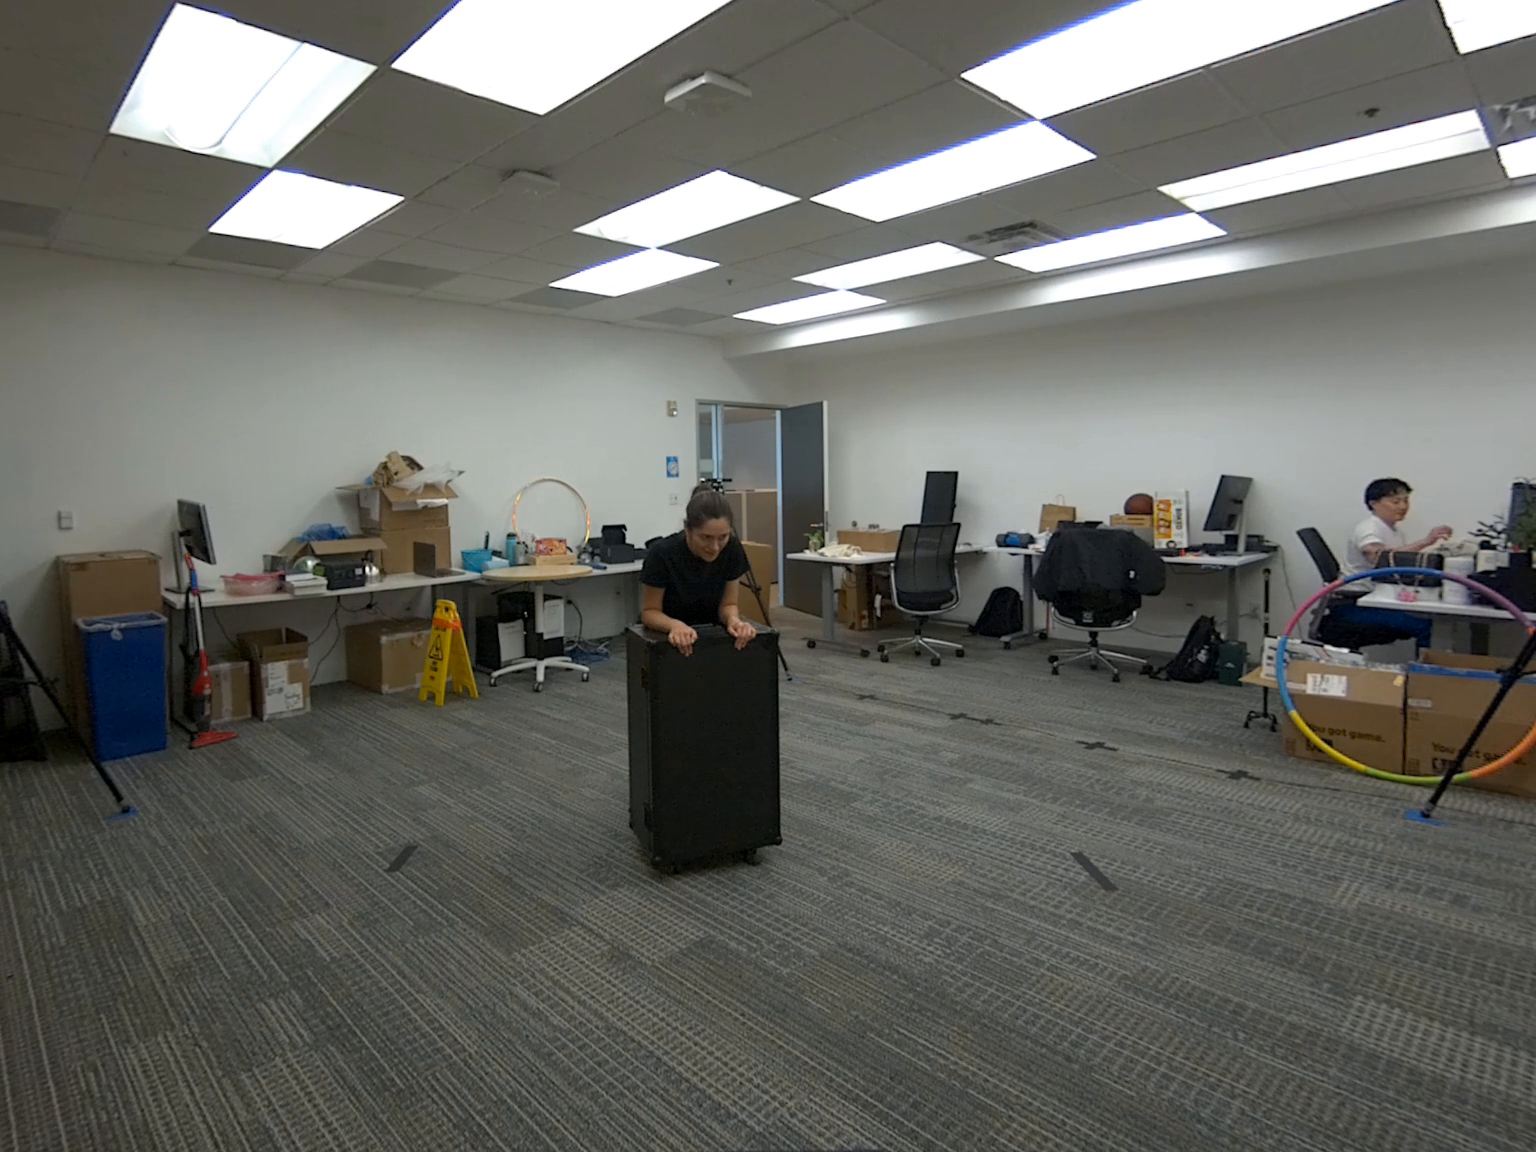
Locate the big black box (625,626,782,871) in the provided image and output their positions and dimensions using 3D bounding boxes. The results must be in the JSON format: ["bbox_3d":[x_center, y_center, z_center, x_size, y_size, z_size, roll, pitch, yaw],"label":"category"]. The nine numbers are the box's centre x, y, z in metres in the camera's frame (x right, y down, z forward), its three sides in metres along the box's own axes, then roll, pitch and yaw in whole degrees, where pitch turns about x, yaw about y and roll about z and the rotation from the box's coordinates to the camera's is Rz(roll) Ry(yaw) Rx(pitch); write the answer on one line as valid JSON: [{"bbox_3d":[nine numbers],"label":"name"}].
[{"bbox_3d":[-0.248,0.553,3.178,0.512,0.858,0.405,-3,5,-21],"label":"big black box"}]
